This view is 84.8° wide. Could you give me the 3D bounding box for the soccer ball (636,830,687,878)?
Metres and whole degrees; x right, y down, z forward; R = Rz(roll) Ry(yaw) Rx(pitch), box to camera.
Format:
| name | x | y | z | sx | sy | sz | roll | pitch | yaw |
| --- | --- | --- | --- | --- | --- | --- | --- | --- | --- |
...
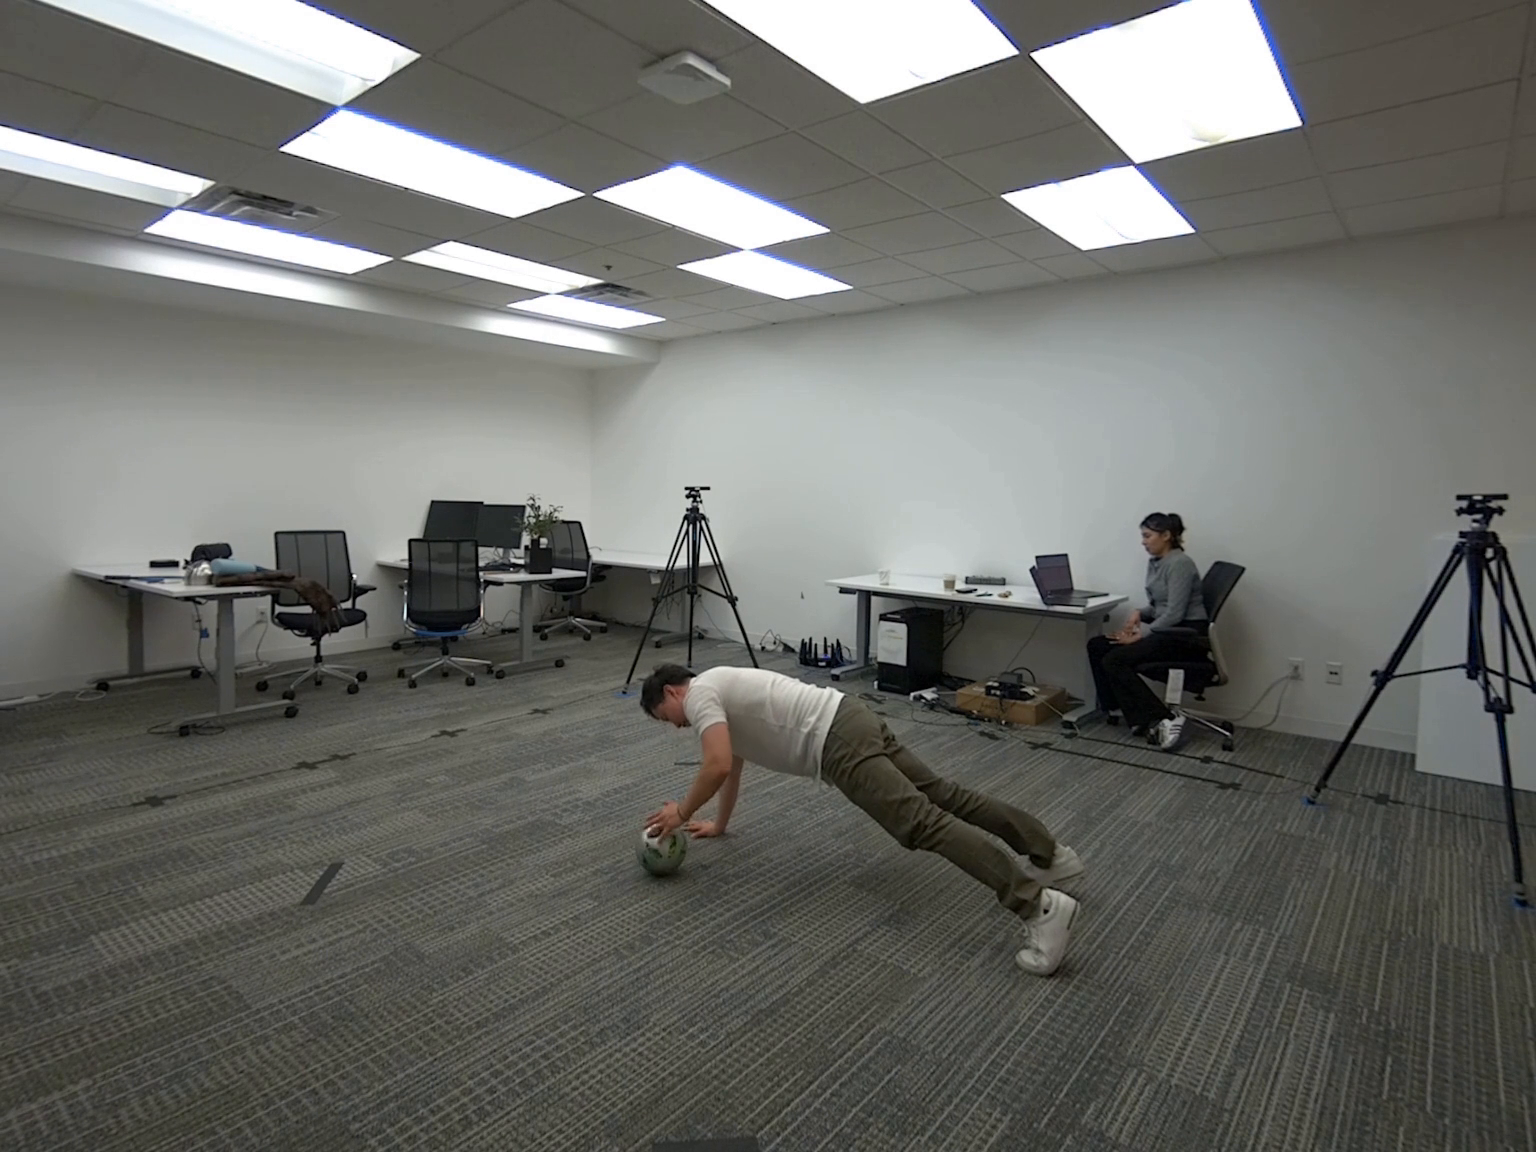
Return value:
| name | x | y | z | sx | sy | sz | roll | pitch | yaw |
| --- | --- | --- | --- | --- | --- | --- | --- | --- | --- |
| soccer ball | -0.391 | 0.976 | 3.071 | 0.187 | 0.187 | 0.188 | 1 | 4 | -2 |
